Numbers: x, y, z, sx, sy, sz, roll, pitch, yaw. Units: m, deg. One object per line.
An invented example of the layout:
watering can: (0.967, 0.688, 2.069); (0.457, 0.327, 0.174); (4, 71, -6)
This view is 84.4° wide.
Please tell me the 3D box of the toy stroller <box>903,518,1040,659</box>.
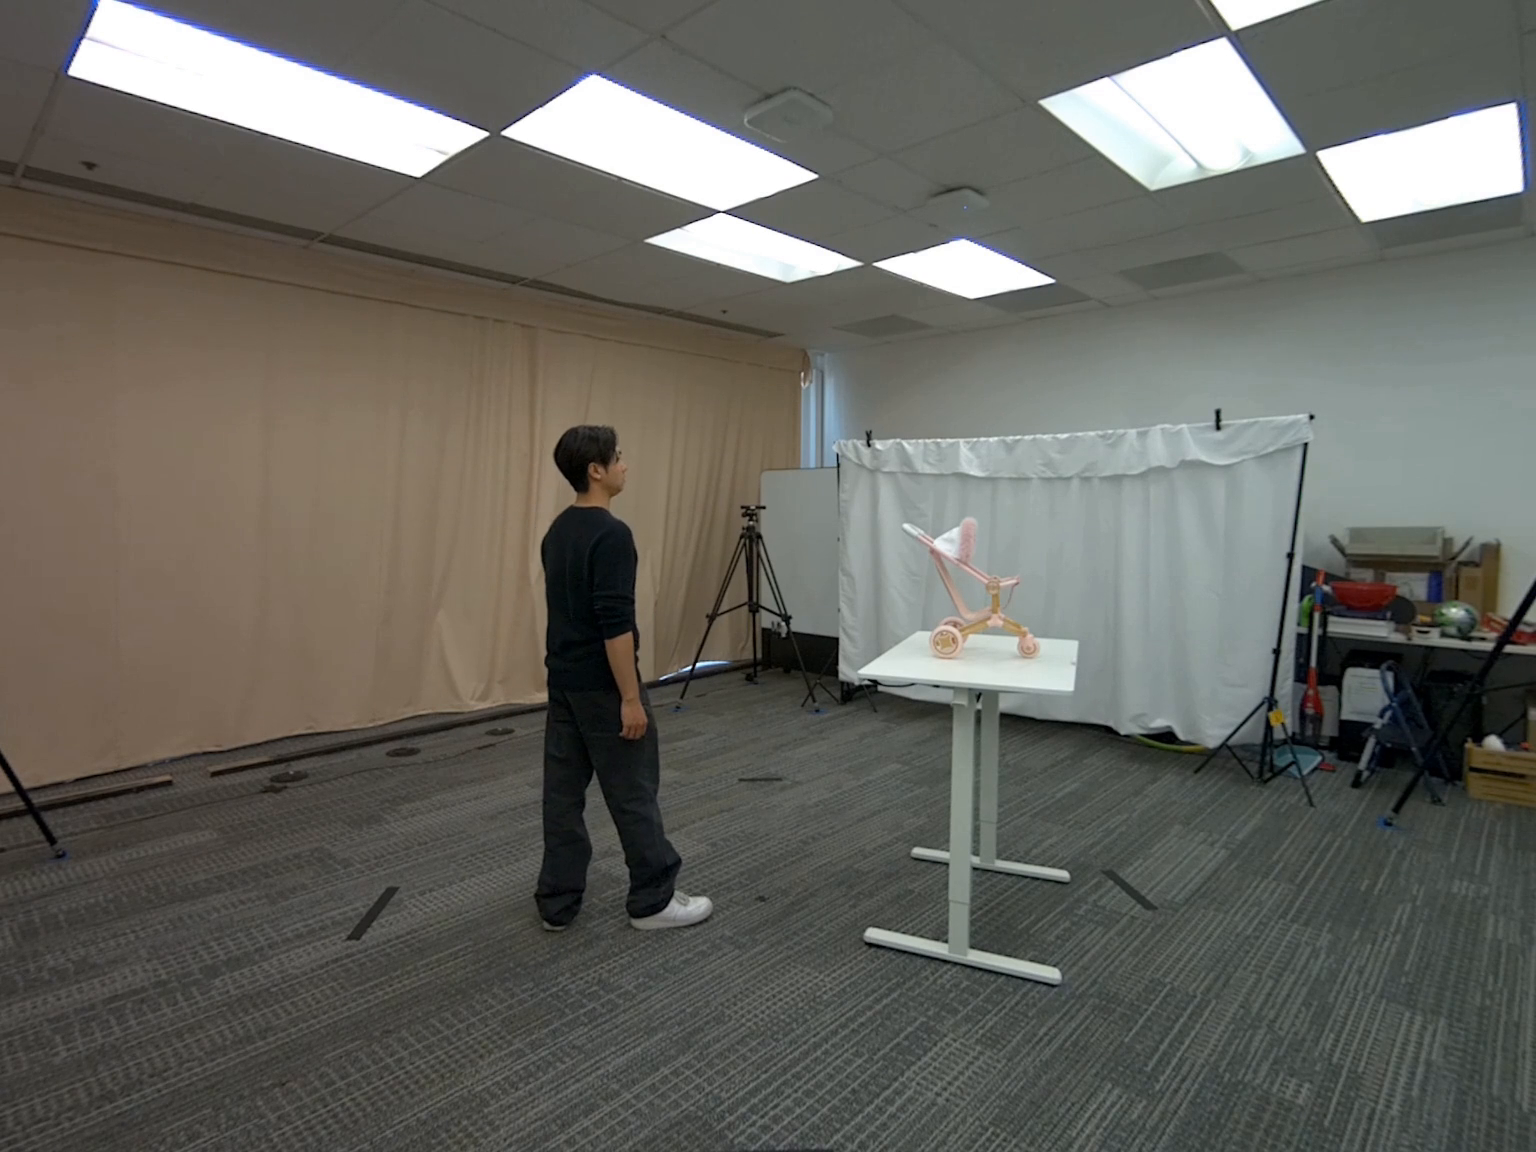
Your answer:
toy stroller: (0.701, 0.045, 2.863); (0.348, 0.536, 0.275); (-14, -3, 24)
